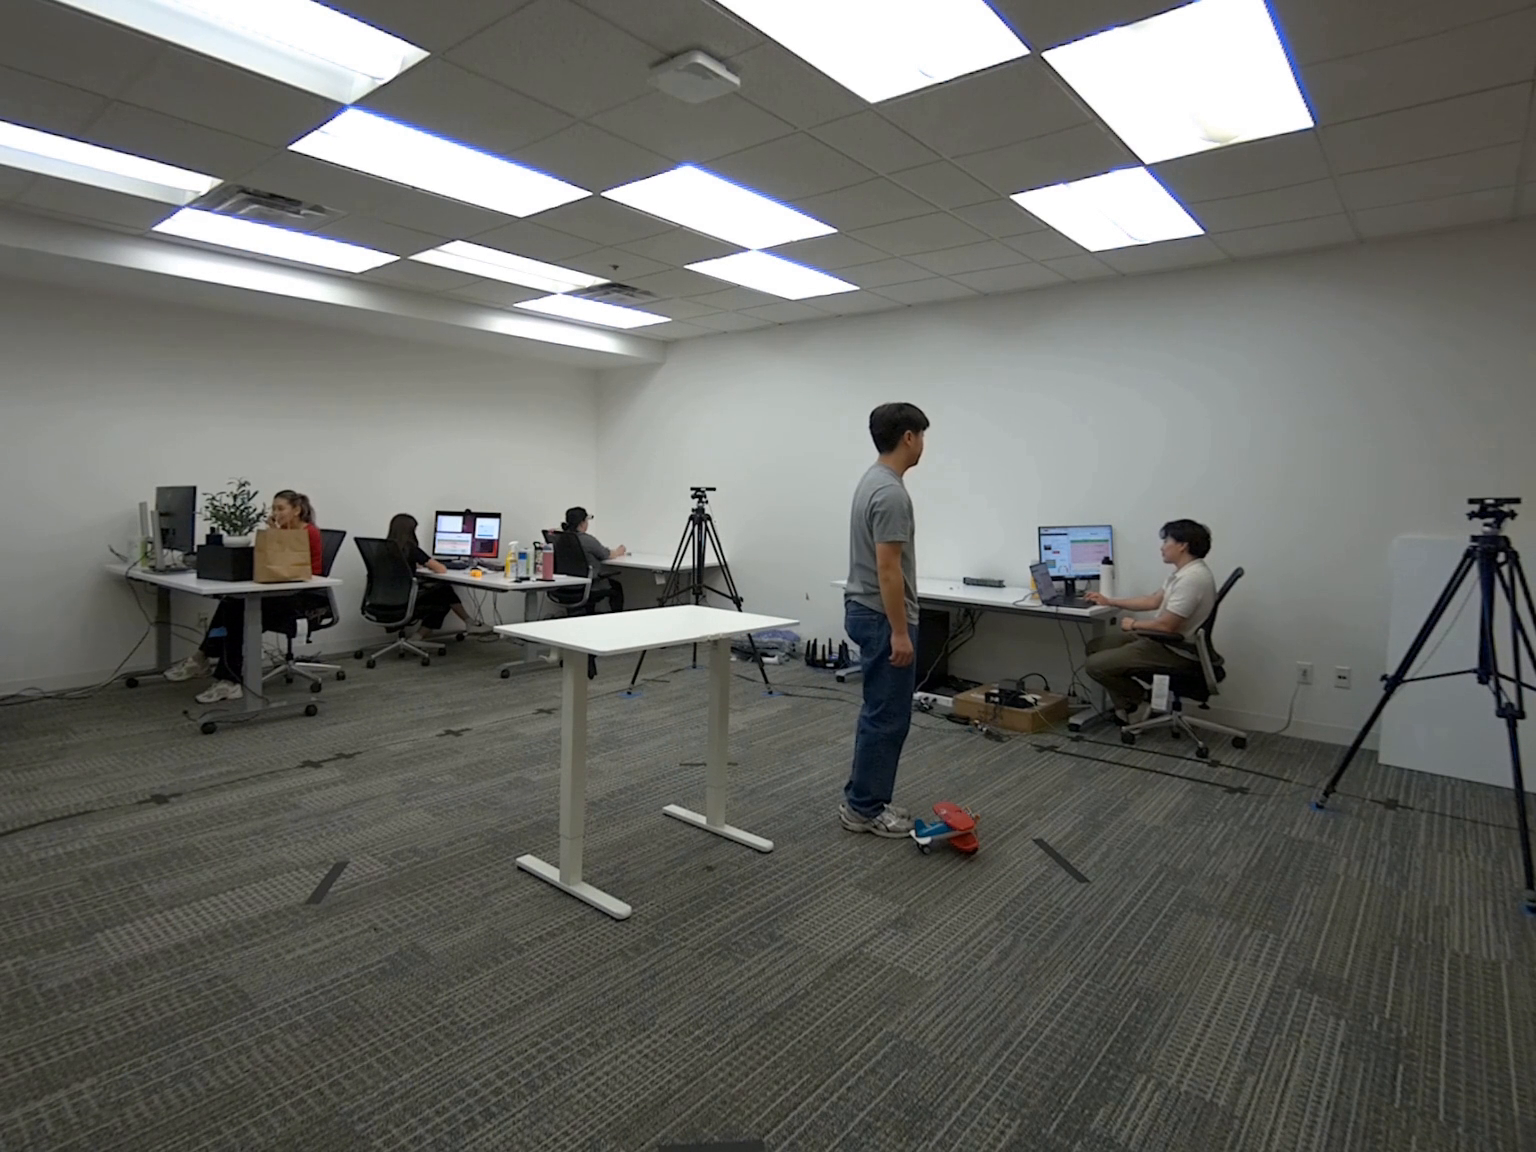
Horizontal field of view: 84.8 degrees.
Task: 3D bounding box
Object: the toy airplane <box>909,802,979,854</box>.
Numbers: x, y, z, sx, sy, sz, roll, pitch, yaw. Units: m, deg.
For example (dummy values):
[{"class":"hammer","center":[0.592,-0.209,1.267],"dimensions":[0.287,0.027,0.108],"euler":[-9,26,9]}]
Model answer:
[{"class":"toy airplane","center":[0.694,0.989,3.300],"dimensions":[0.251,0.156,0.260],"euler":[-1,5,-41]}]
